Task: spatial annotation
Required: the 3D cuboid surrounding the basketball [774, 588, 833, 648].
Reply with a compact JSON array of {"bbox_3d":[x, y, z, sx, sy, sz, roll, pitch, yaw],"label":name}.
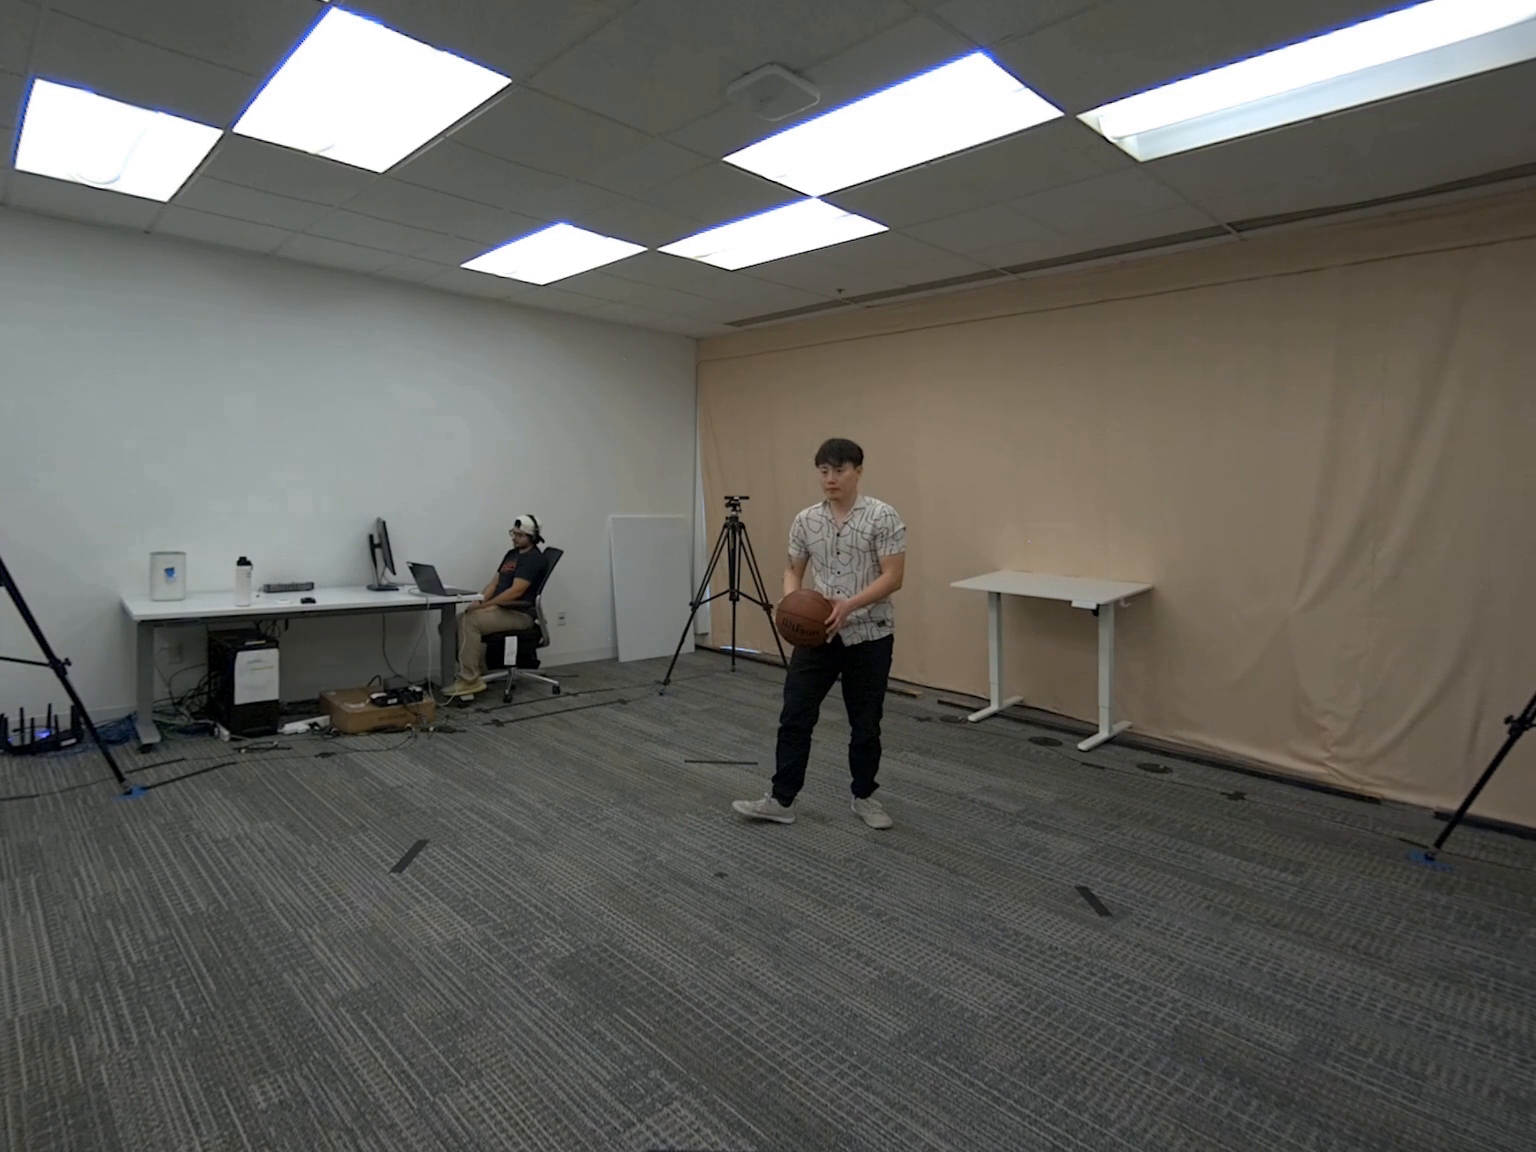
[{"bbox_3d":[0.133,0.169,3.386,0.236,0.235,0.237,1,4,-1],"label":"basketball"}]
